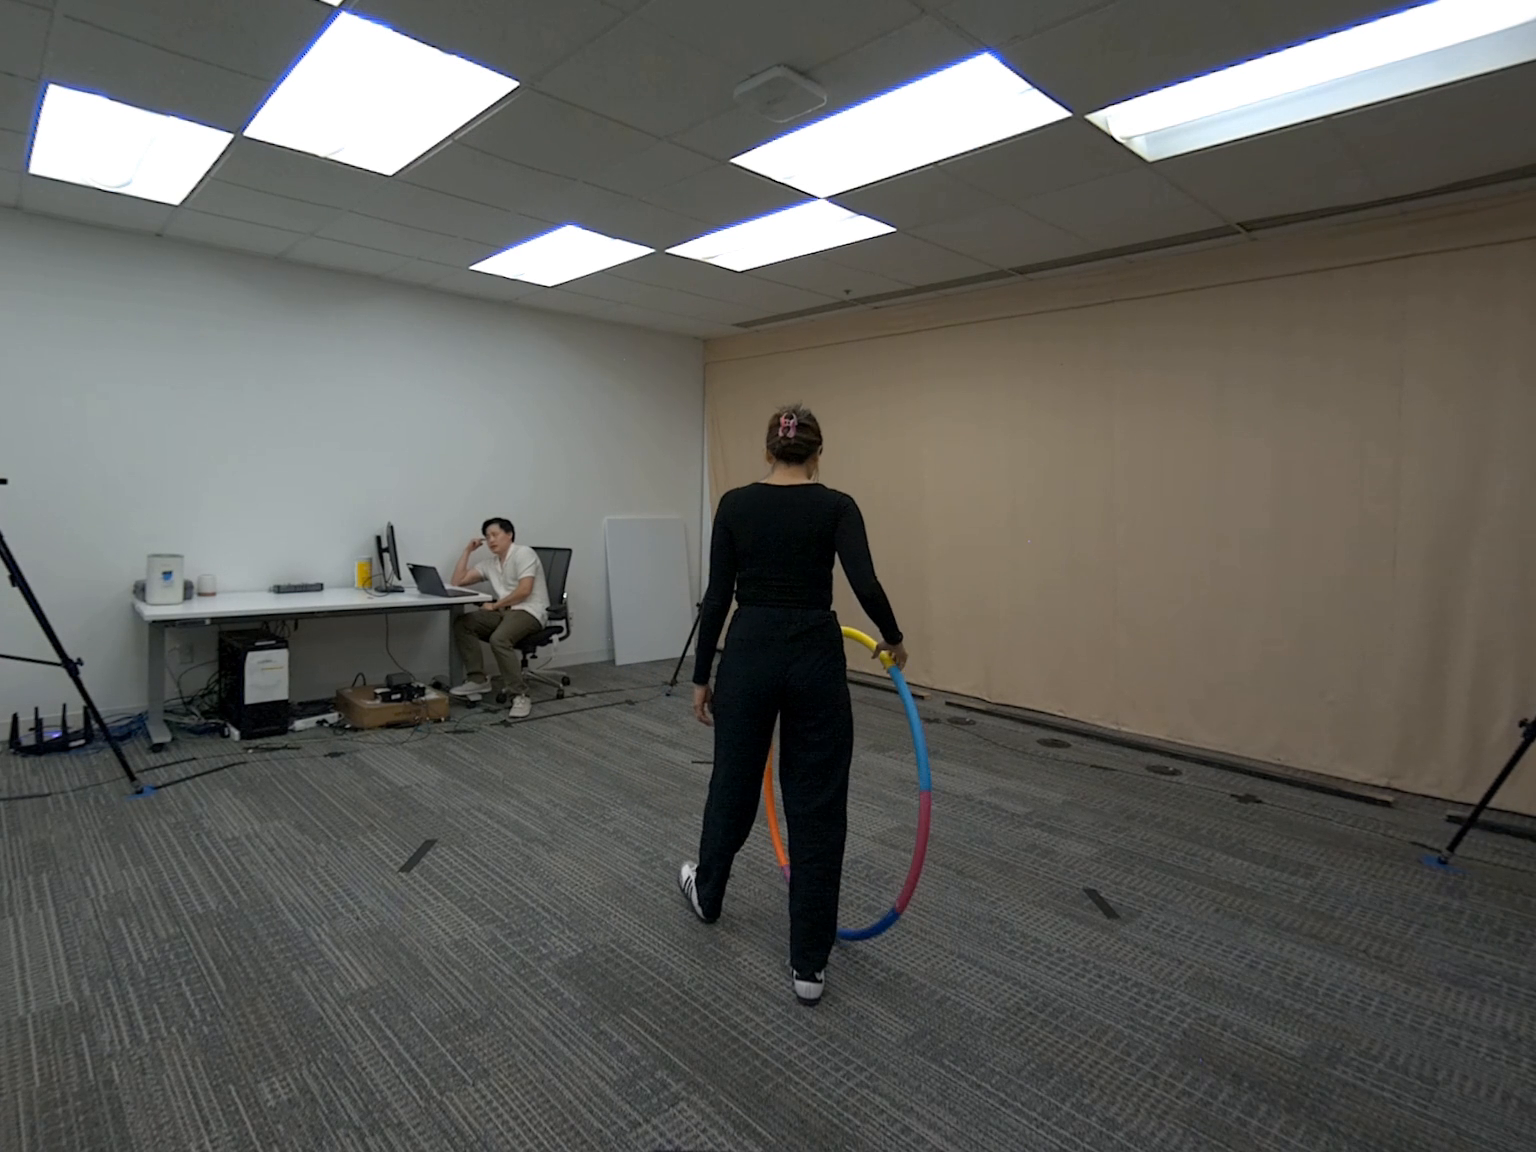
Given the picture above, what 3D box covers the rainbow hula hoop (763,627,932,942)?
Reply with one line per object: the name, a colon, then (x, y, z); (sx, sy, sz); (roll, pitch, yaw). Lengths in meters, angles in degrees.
rainbow hula hoop: (0.204, 0.660, 2.761); (0.035, 0.978, 0.998); (6, 2, -25)
